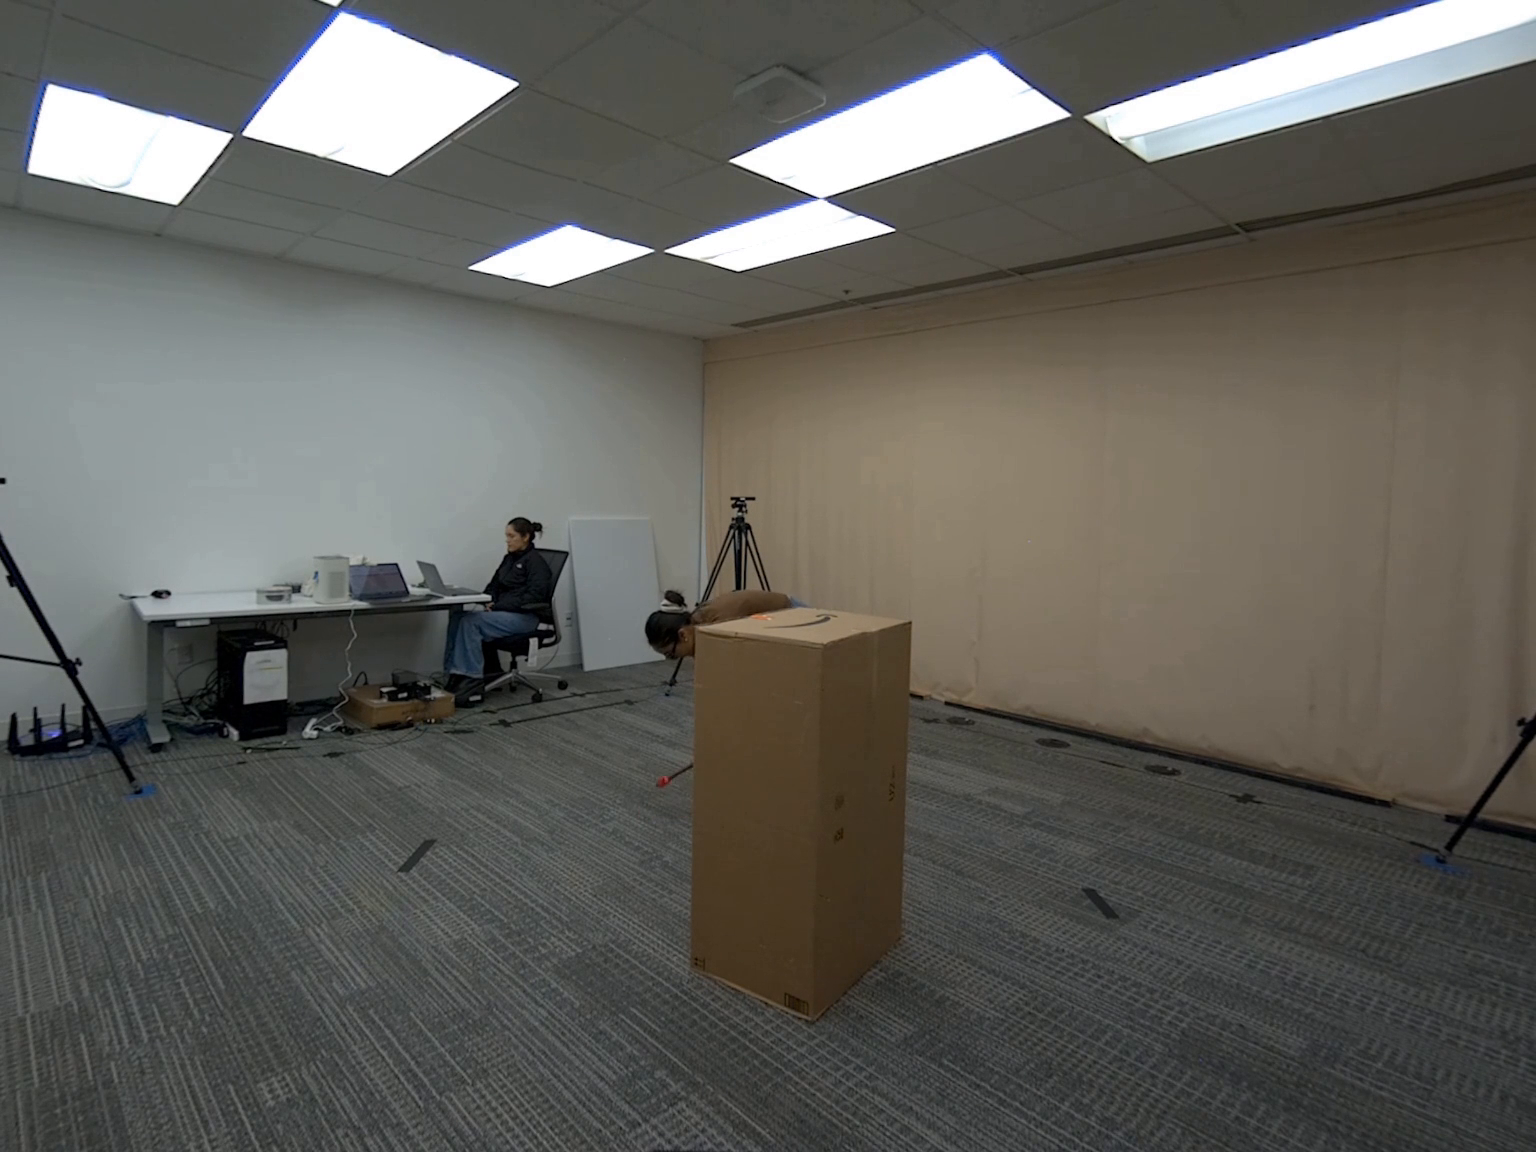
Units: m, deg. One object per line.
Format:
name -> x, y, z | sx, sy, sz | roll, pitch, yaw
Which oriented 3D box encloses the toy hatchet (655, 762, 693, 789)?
toy hatchet -> -0.380, 0.863, 3.651 | 0.265, 0.030, 0.130 | -12, -31, -41
